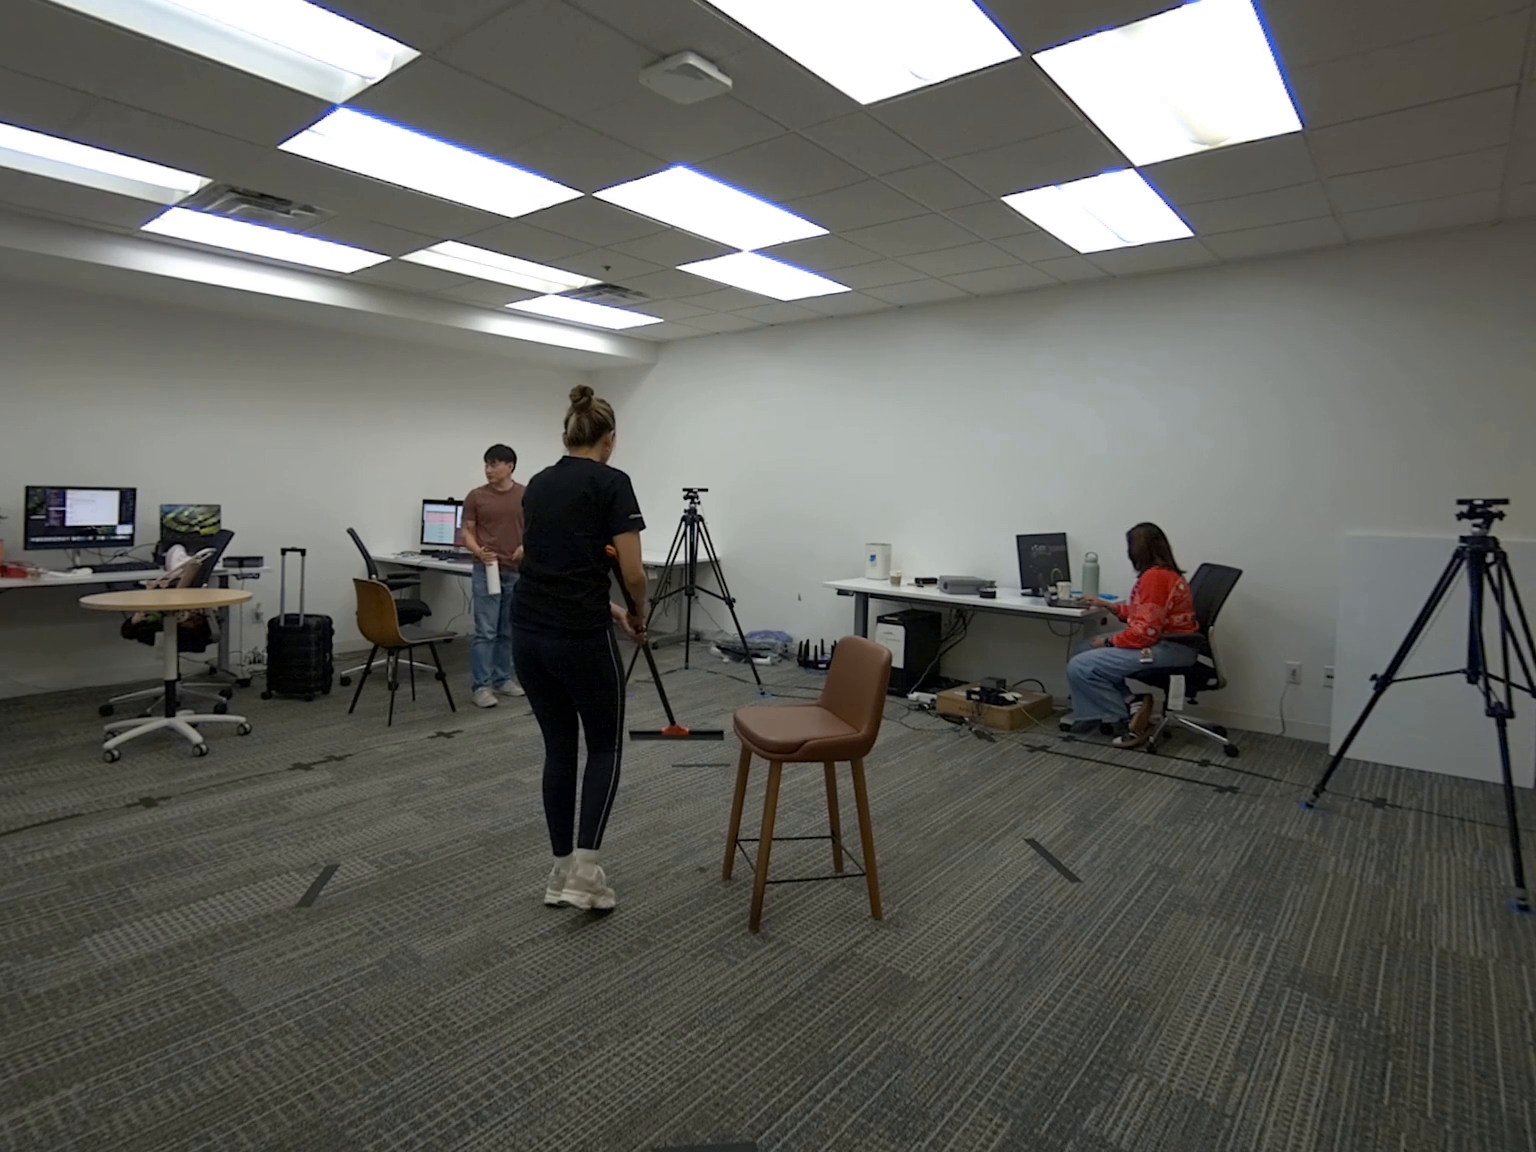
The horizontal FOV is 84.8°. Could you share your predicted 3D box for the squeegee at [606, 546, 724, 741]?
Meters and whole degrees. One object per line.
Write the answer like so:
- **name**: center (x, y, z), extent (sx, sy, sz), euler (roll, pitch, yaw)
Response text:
- **squeegee**: center (-0.477, 0.329, 3.264), extent (0.440, 0.054, 1.490), euler (-1, -33, 4)
